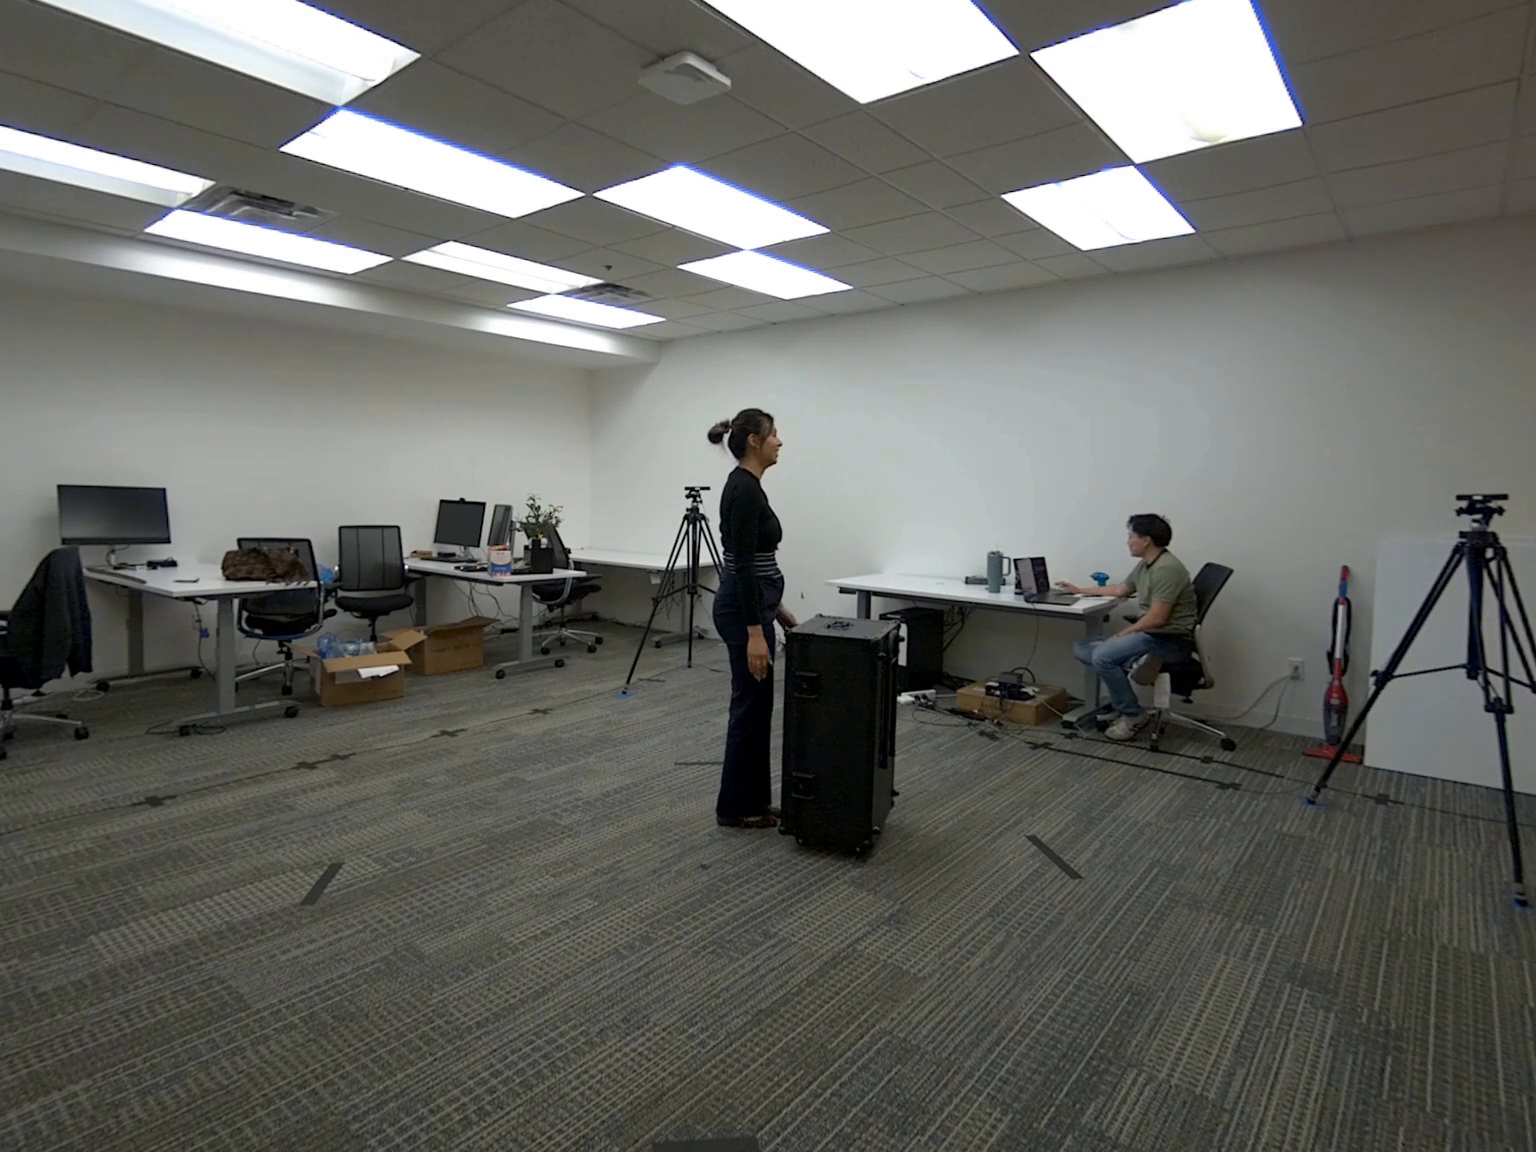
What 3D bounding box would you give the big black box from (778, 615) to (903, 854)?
[{"bbox_3d":[0.311,0.621,3.389,0.405,0.859,0.512,3,4,20],"label":"big black box"}]
